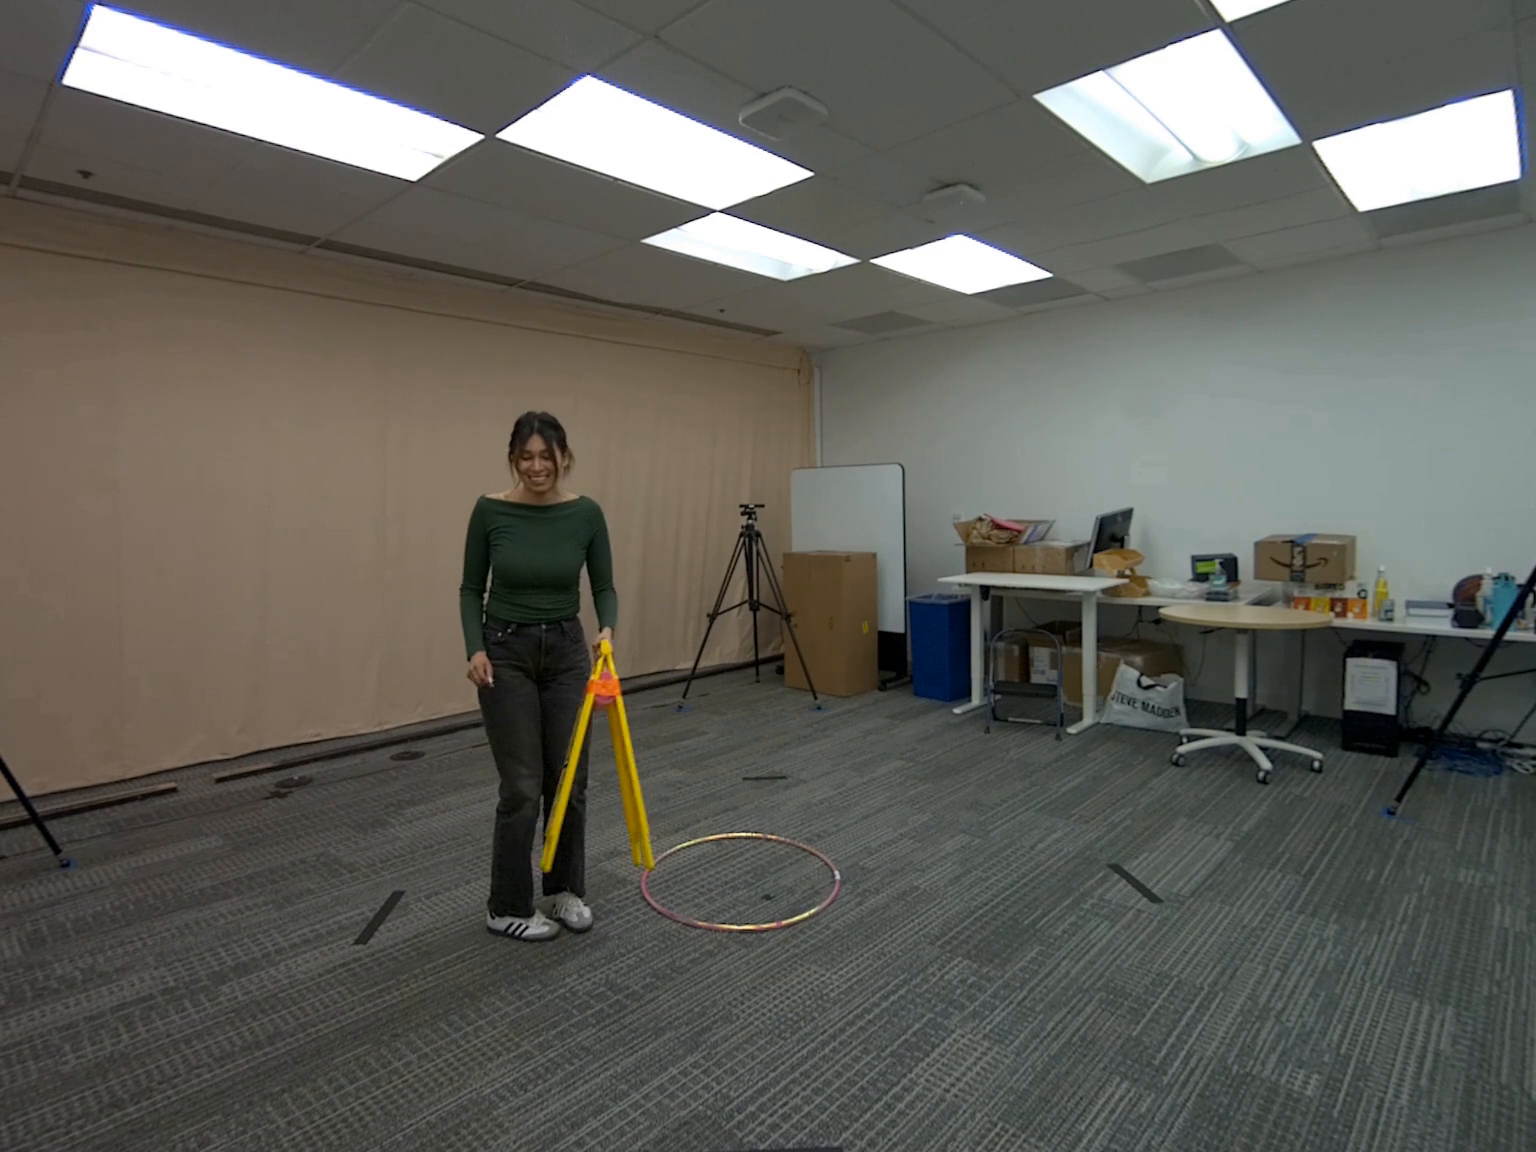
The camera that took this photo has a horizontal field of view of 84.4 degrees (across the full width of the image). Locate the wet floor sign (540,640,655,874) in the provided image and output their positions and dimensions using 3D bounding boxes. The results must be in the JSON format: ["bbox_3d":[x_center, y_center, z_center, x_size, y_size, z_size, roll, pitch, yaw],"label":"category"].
[{"bbox_3d":[-0.502,0.527,2.506,0.285,0.653,0.284,3,-17,-16],"label":"wet floor sign"}]
